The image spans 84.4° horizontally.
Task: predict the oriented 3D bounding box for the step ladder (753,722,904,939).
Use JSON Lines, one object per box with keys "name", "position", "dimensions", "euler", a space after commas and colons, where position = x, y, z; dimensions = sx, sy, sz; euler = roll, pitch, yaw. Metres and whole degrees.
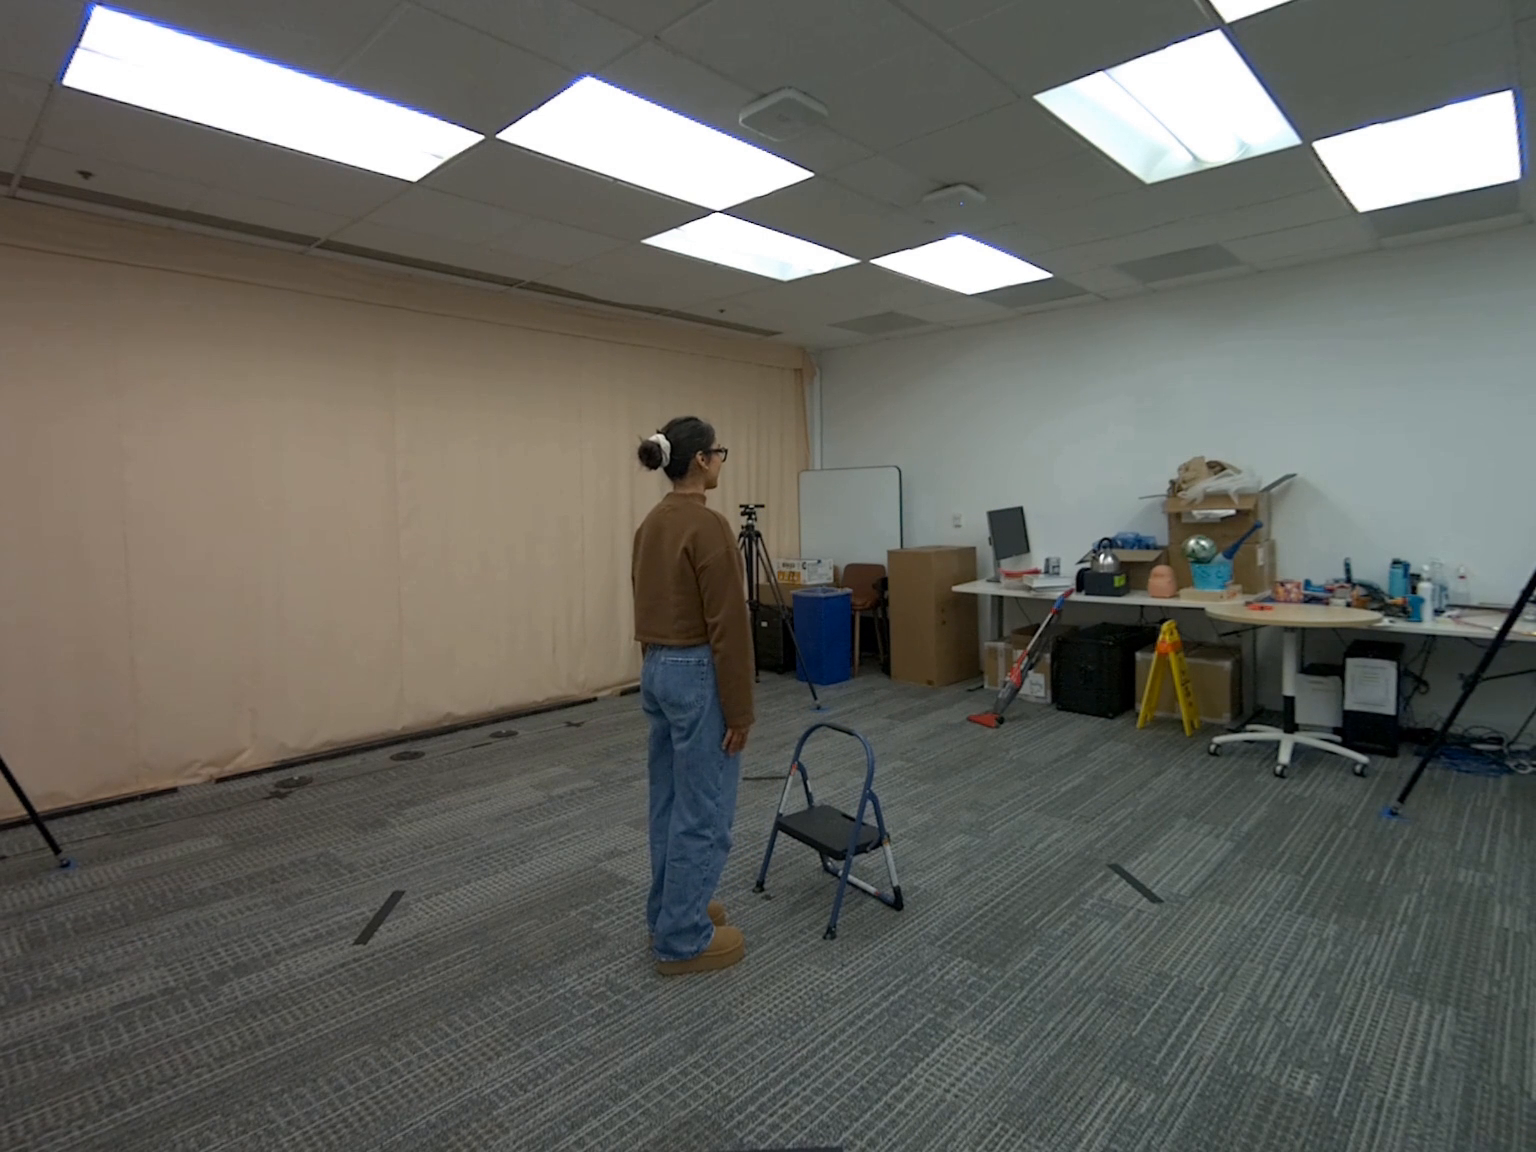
{"name": "step ladder", "position": [0.206, 0.834, 2.939], "dimensions": [0.339, 0.605, 0.444], "euler": [-3, 4, -35]}
